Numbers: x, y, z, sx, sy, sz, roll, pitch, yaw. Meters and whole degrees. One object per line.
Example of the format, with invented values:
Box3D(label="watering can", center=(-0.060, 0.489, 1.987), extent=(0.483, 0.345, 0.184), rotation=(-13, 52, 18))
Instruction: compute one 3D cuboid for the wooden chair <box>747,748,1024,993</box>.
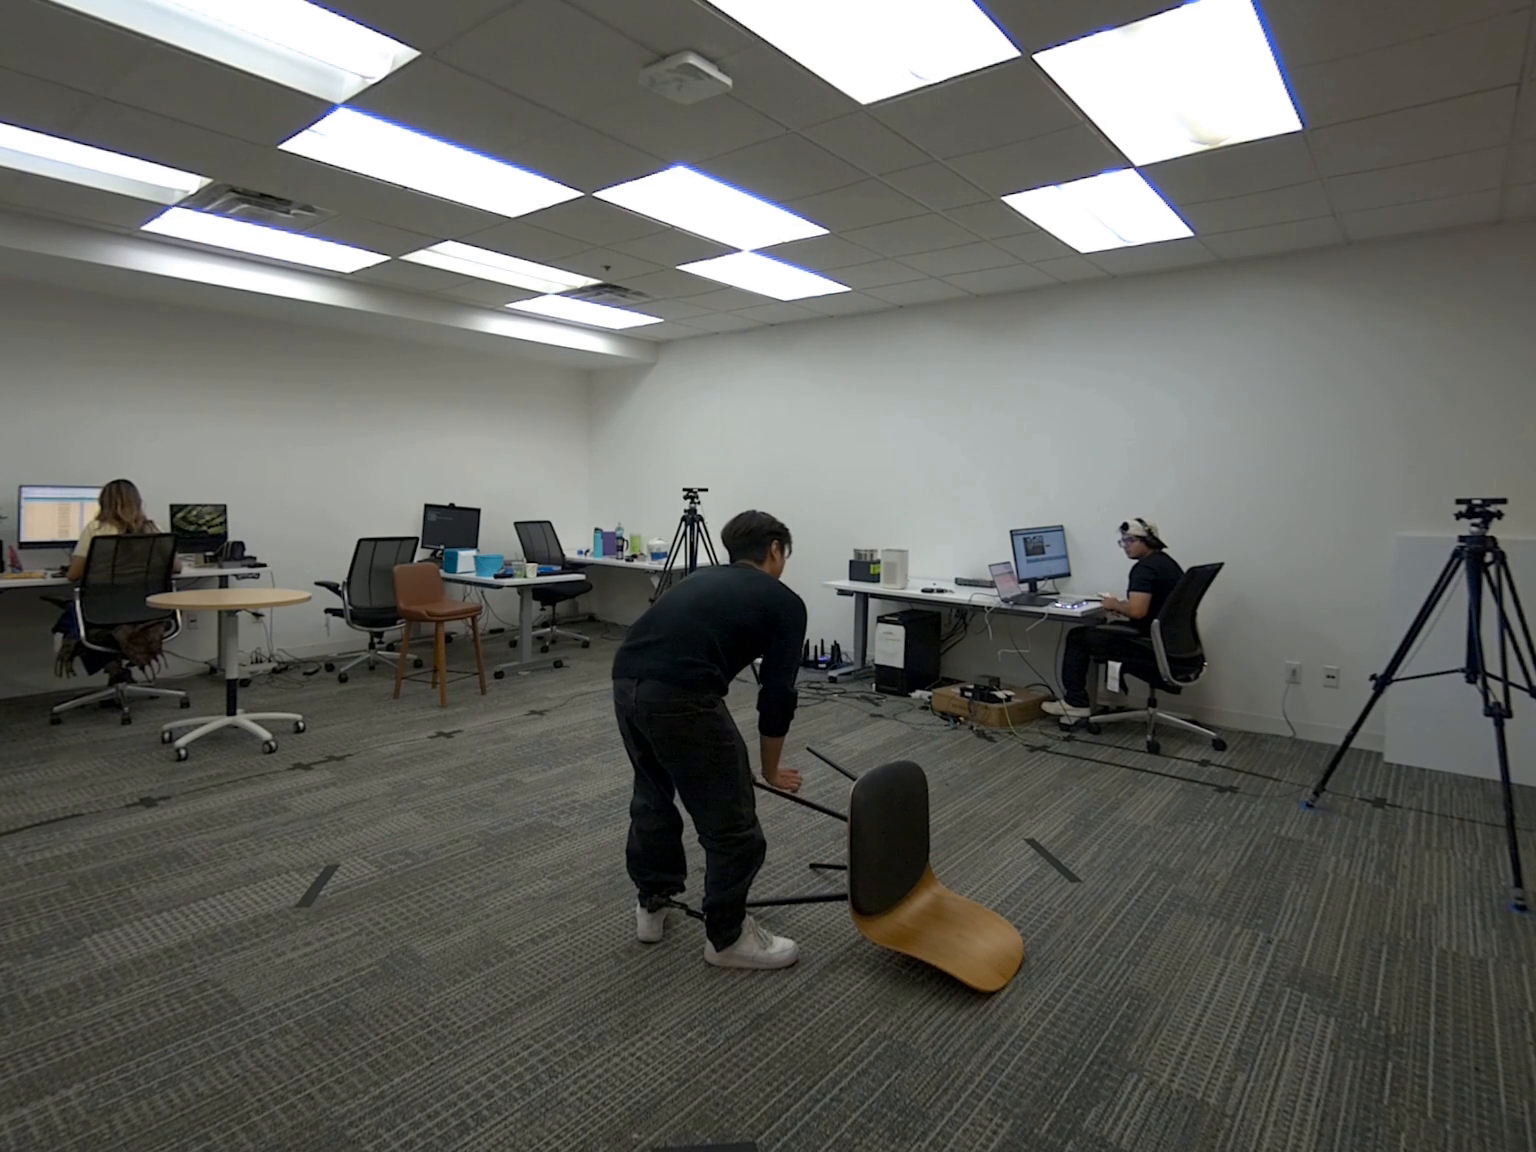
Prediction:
Box3D(label="wooden chair", center=(0.341, 0.866, 2.688), extent=(0.908, 0.521, 0.464), rotation=(7, 7, 40))
